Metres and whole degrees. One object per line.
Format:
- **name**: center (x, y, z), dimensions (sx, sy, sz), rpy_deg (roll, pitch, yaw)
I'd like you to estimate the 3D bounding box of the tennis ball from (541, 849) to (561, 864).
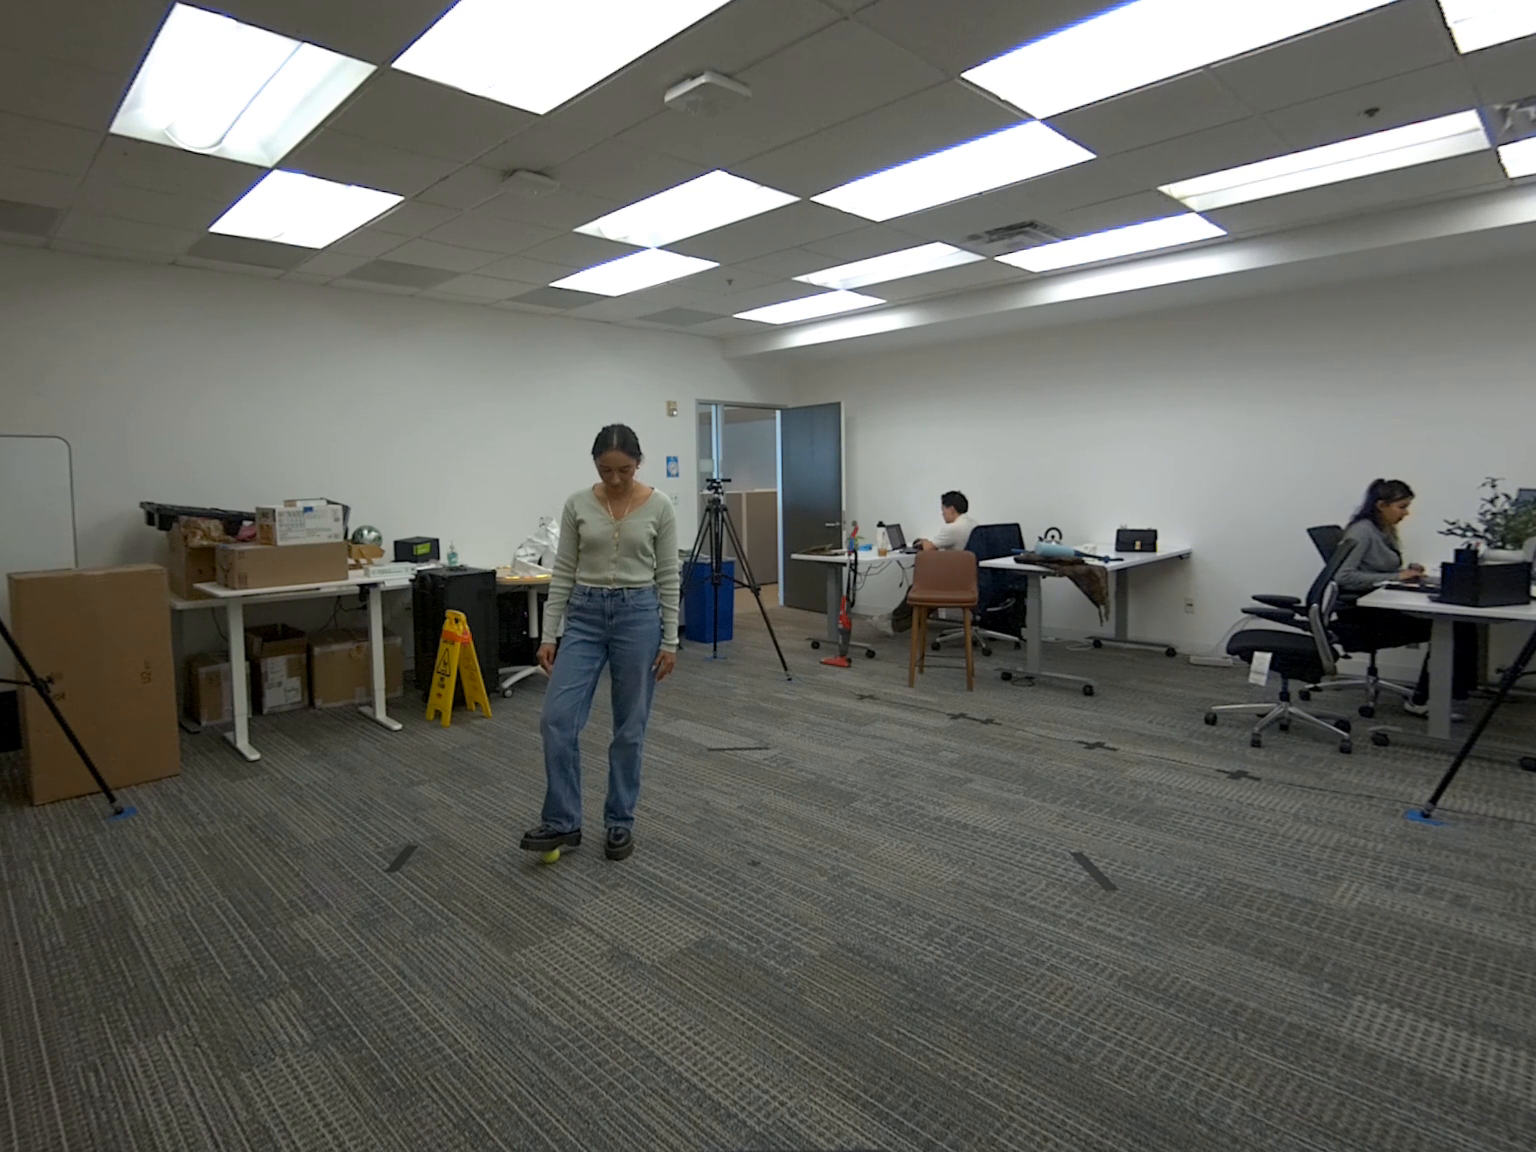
- **tennis ball**: center (-0.811, 1.031, 3.151), dimensions (0.066, 0.066, 0.067), rpy_deg (-1, 5, -2)
